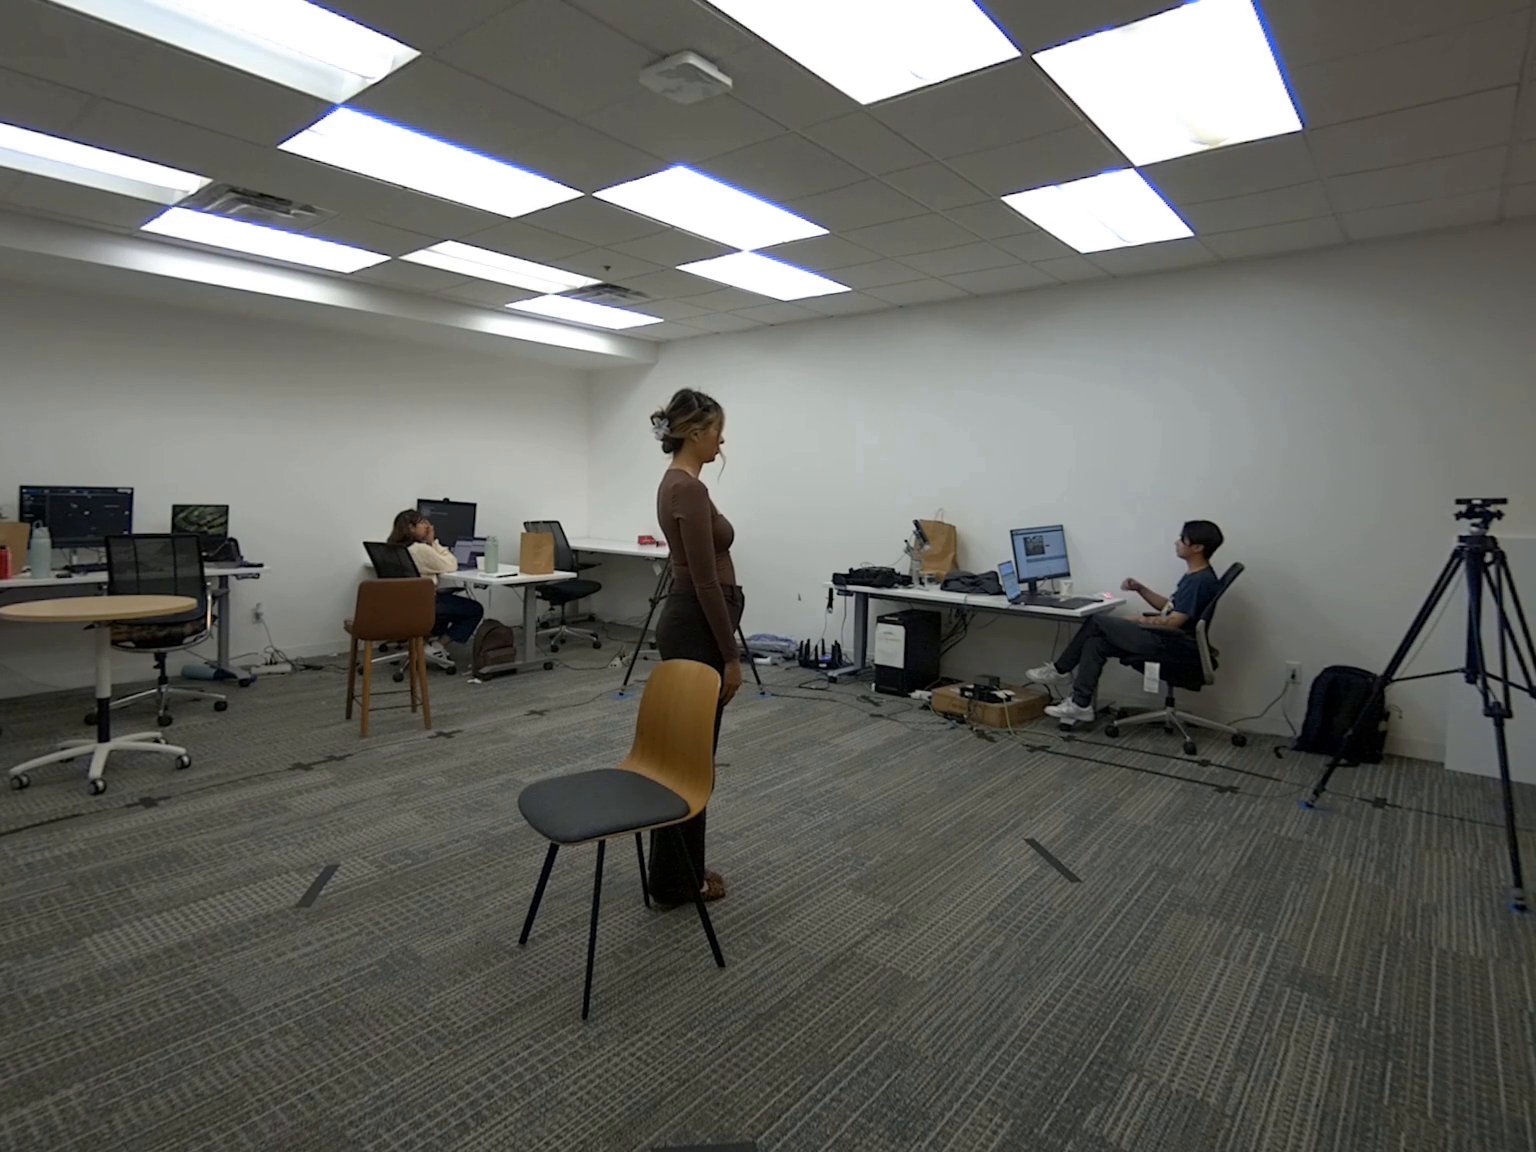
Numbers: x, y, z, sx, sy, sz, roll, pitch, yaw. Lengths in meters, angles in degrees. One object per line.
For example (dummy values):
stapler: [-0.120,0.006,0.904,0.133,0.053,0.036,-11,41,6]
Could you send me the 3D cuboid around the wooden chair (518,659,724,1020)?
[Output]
wooden chair: [-0.443,0.701,2.492,0.506,0.877,0.494,4,1,-36]
